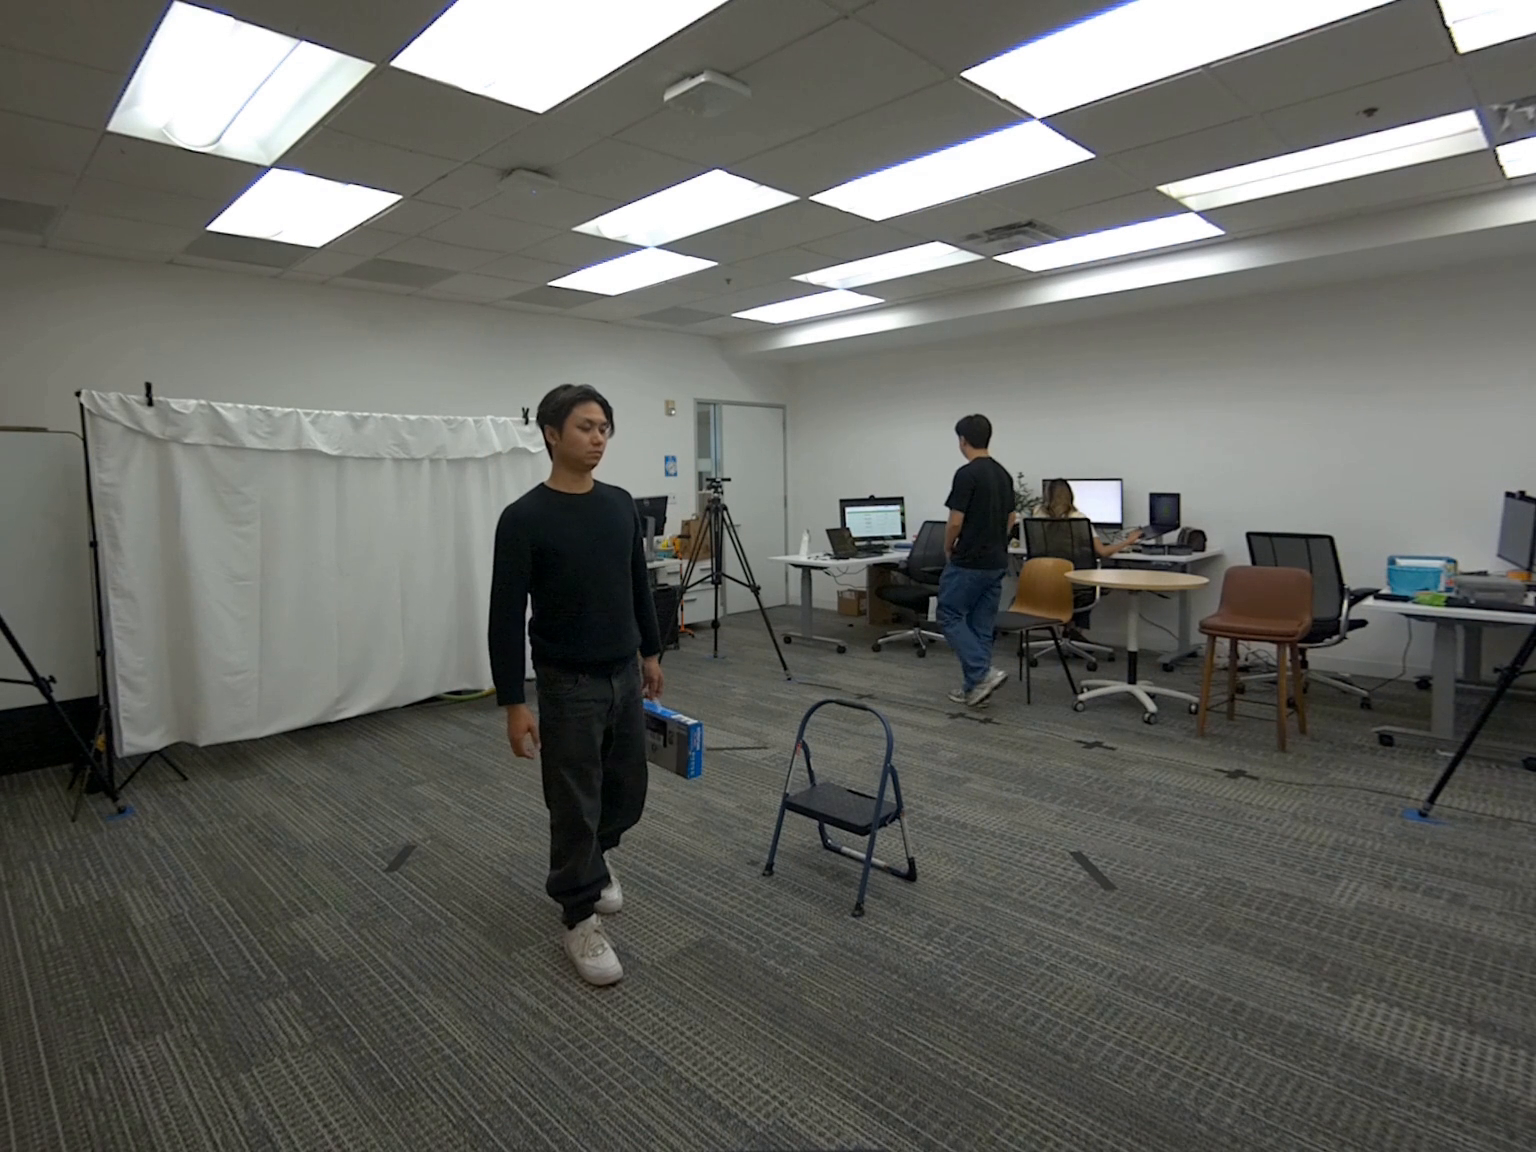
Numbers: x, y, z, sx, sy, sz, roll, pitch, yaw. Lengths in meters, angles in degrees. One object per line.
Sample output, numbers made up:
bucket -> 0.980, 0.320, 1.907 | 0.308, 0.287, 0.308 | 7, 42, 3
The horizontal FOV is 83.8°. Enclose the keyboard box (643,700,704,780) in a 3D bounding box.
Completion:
keyboard box -> -0.378, 0.510, 2.775 | 0.057, 0.175, 0.451 | -4, 10, -45
